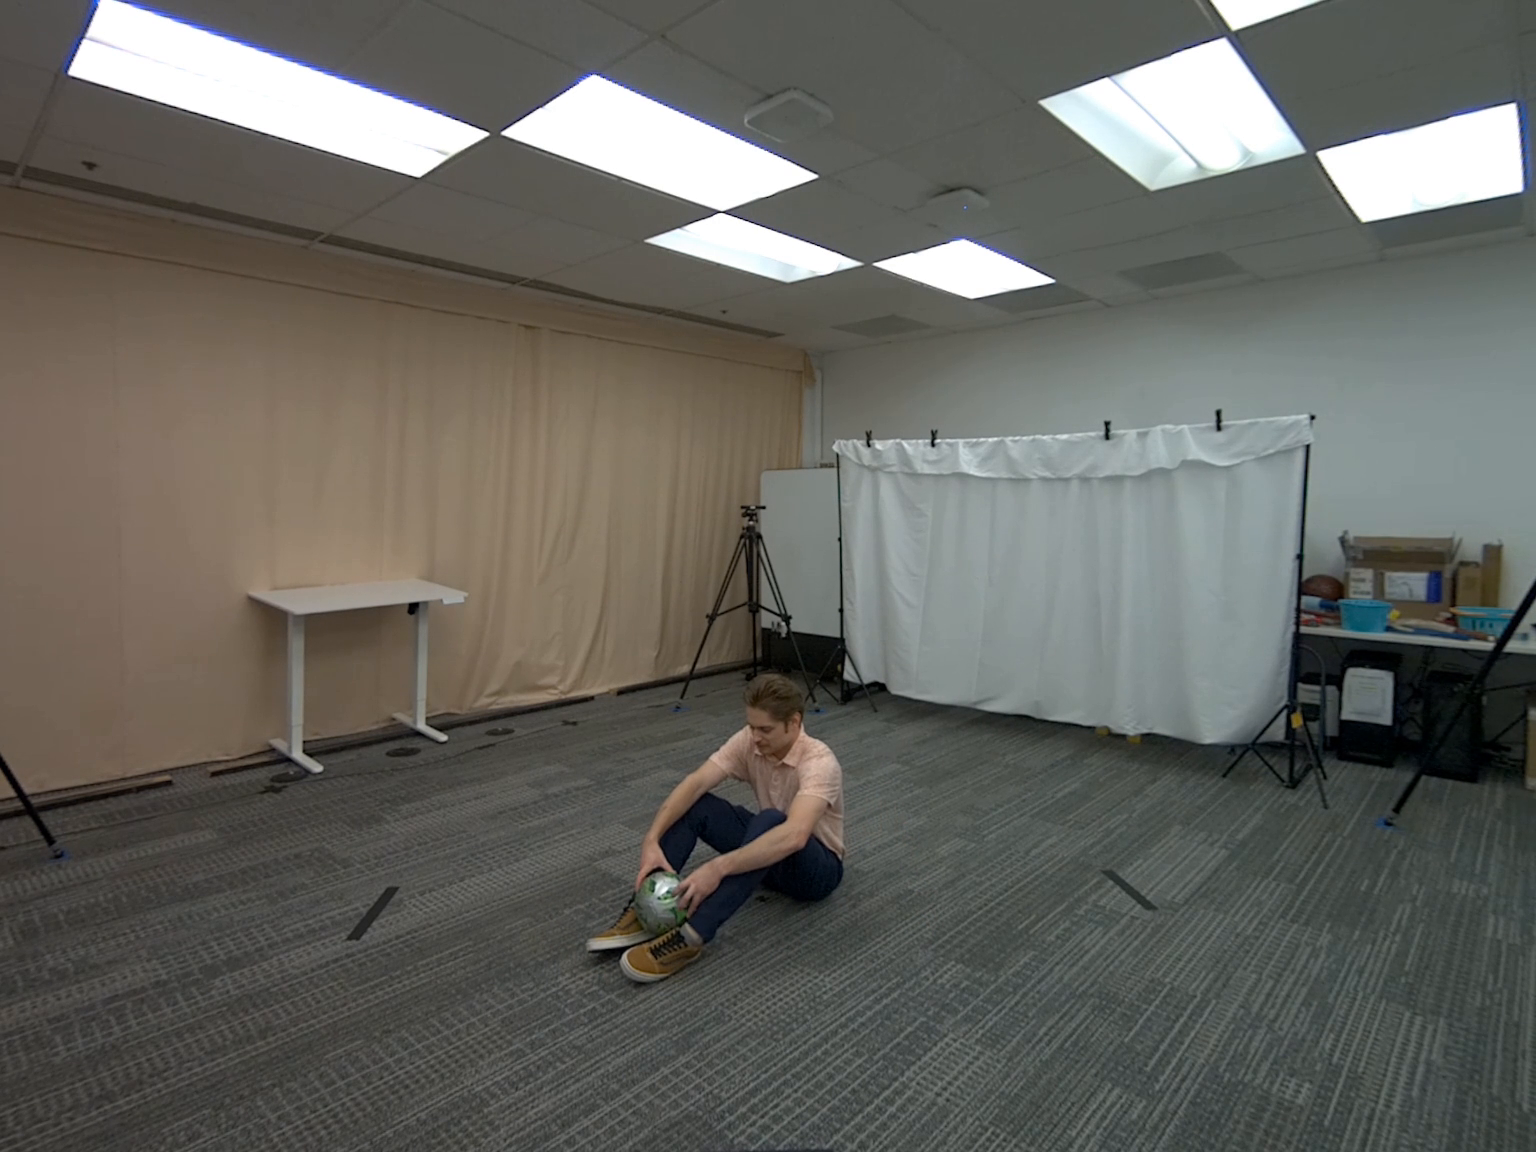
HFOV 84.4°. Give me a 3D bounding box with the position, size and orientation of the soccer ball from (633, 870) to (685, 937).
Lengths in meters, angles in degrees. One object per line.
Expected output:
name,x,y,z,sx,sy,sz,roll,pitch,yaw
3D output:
soccer ball,-0.322,1.020,2.642,0.187,0.187,0.188,0,4,-2
